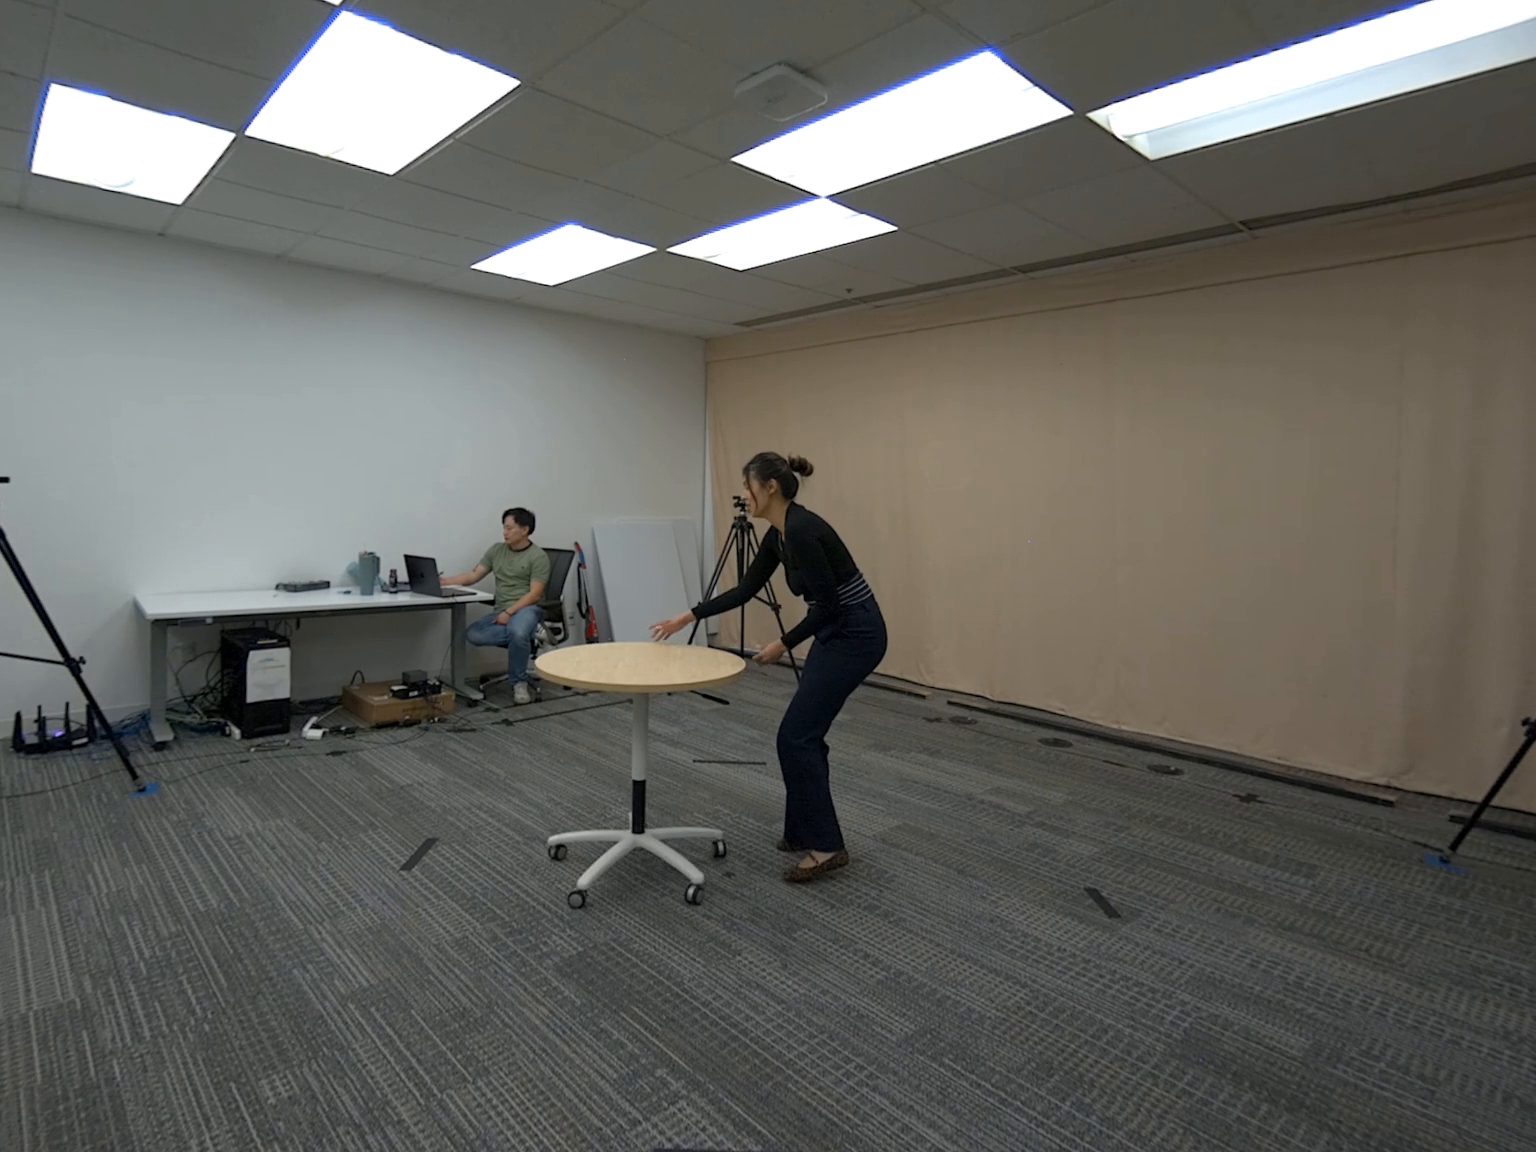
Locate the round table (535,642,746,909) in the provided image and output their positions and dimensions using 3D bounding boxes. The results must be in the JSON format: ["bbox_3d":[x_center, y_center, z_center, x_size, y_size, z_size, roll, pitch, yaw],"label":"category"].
[{"bbox_3d":[-0.475,0.705,3.102,0.763,0.791,0.767,1,5,-1],"label":"round table"}]
